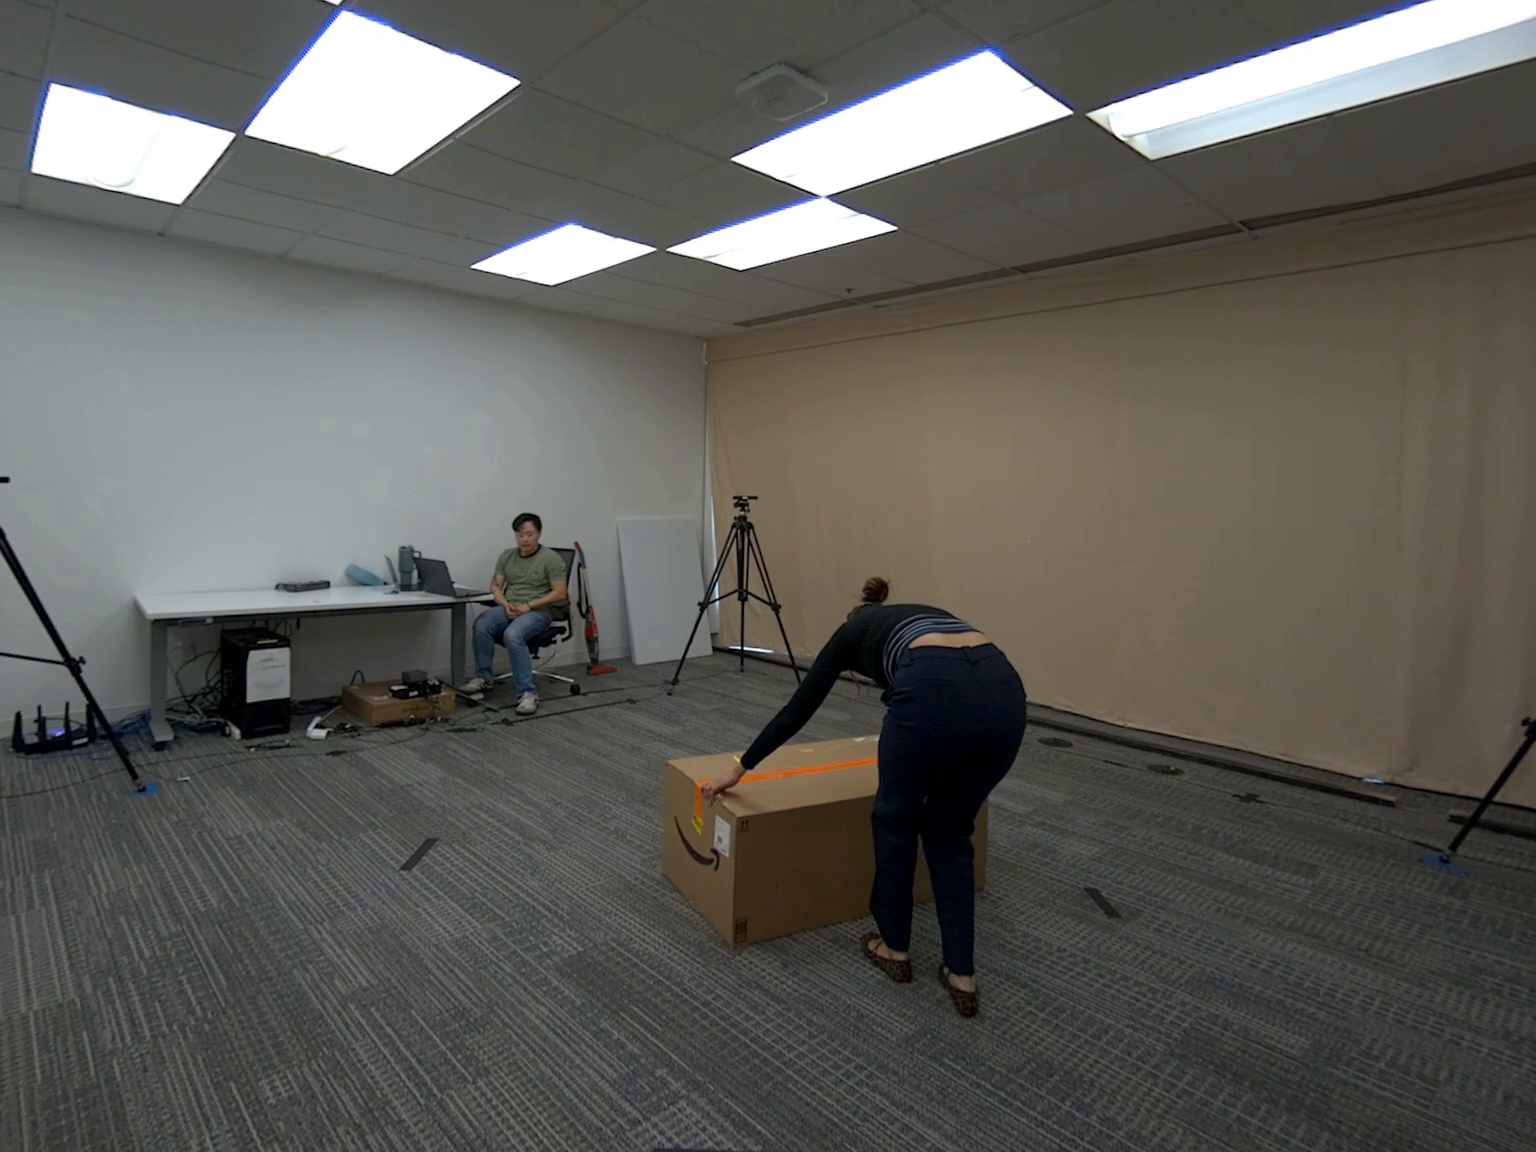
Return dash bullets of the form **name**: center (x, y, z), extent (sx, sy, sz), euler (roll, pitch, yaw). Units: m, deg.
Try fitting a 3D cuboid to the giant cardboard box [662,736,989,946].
- **giant cardboard box**: center (0.202, 0.900, 3.053), extent (1.006, 0.425, 0.590), euler (-1, 5, -27)
